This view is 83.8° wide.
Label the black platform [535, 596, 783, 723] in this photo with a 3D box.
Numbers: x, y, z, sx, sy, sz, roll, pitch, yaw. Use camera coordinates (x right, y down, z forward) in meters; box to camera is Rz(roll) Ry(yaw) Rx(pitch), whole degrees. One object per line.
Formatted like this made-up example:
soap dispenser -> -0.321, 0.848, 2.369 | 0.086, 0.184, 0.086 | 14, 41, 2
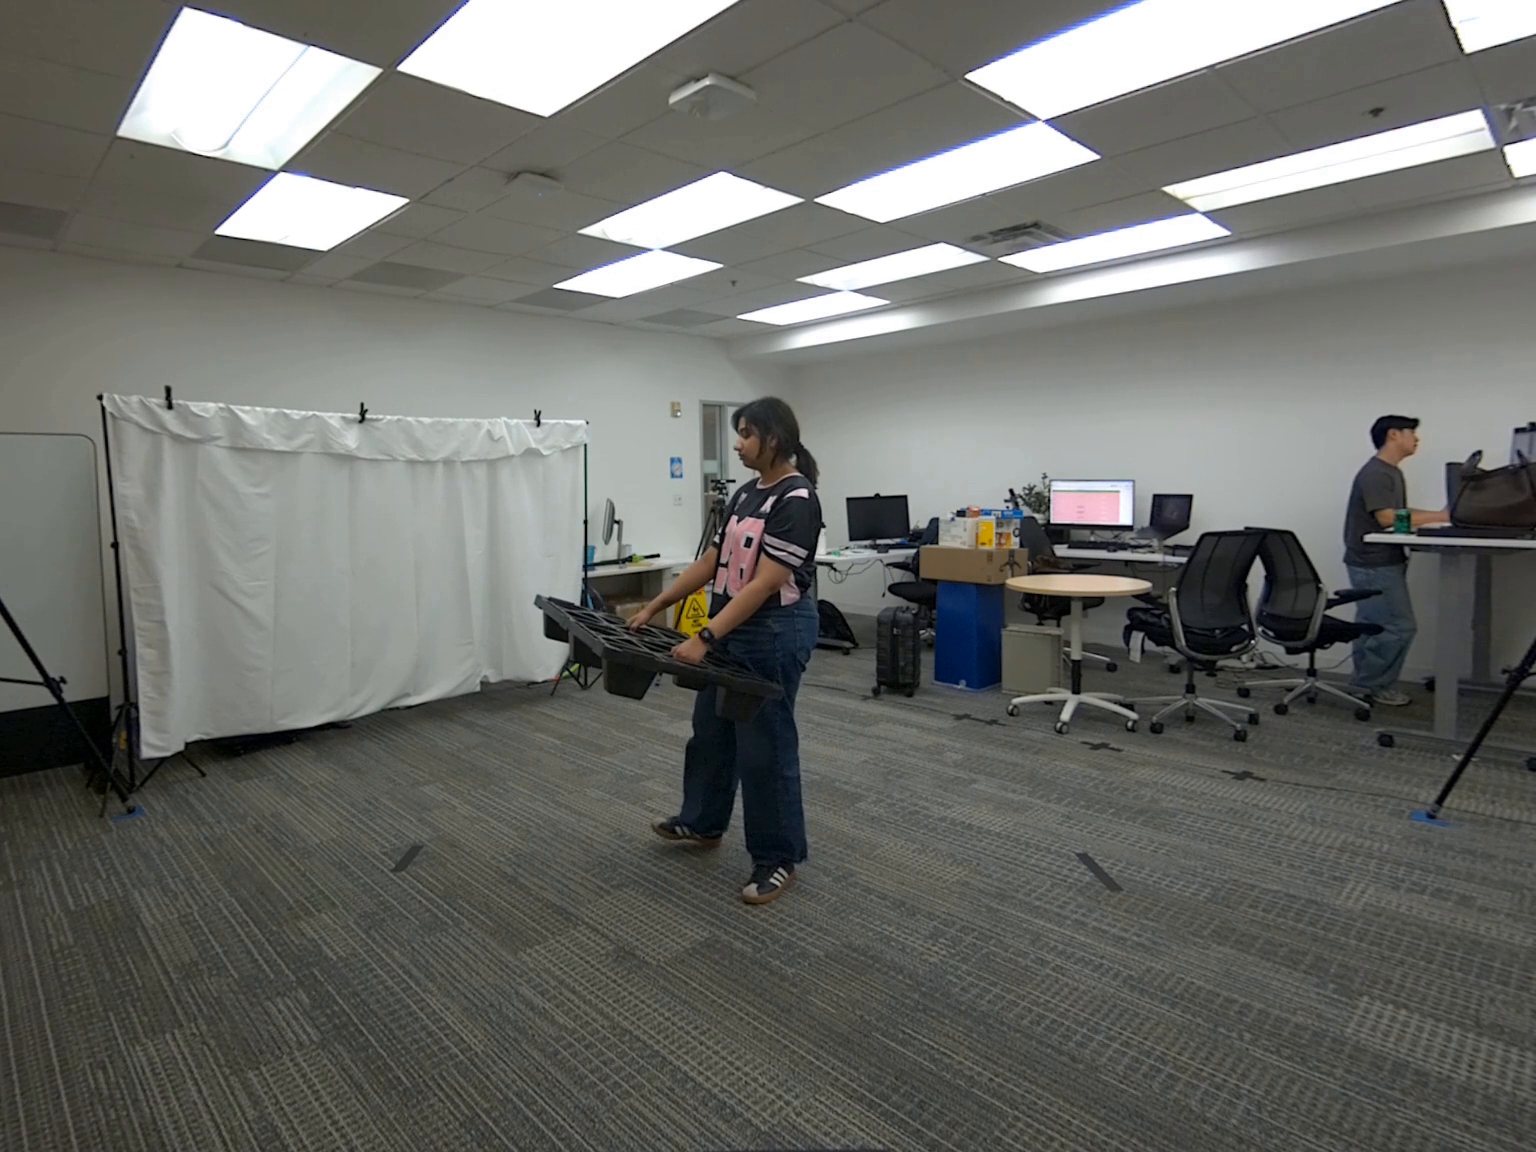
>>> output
black platform -> -0.406, 0.264, 2.780 | 0.587, 0.143, 0.829 | 16, 1, -29
